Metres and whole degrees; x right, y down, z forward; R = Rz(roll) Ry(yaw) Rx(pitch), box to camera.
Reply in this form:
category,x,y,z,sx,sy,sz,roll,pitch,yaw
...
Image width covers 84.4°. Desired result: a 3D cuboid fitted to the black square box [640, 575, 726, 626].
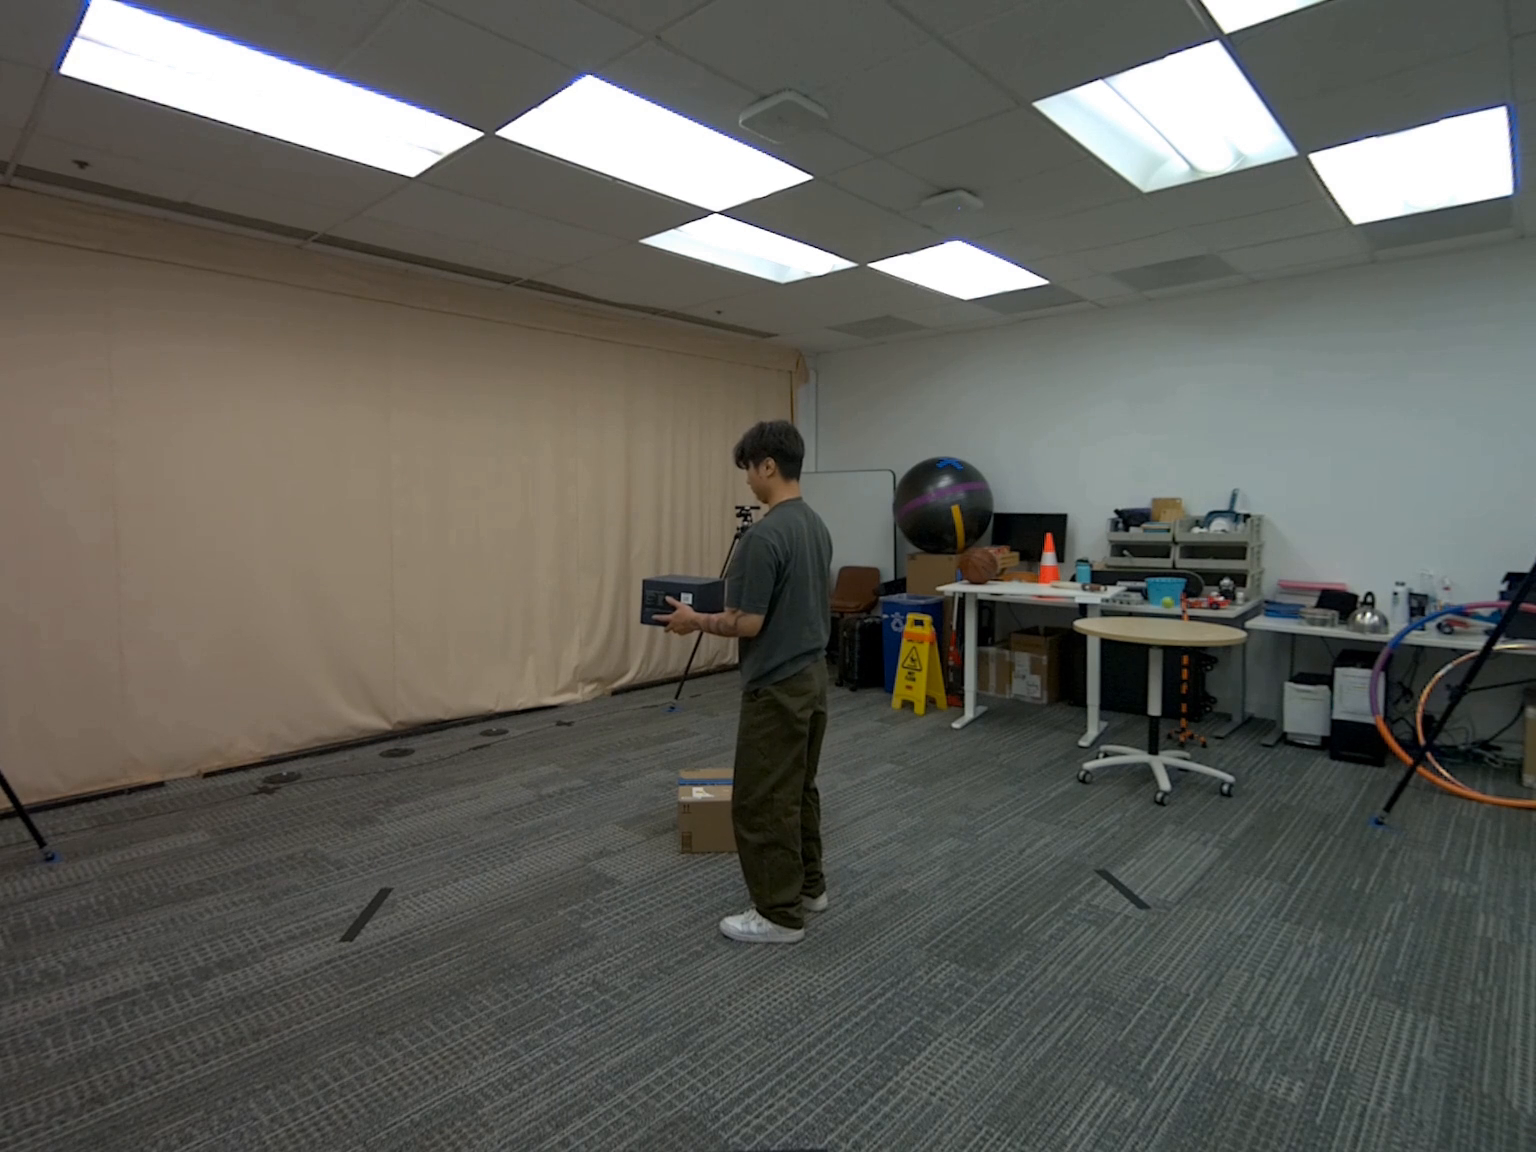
category,x,y,z,sx,sy,sz,roll,pitch,yaw
black square box,-0.292,0.088,2.916,0.222,0.155,0.223,5,6,21
